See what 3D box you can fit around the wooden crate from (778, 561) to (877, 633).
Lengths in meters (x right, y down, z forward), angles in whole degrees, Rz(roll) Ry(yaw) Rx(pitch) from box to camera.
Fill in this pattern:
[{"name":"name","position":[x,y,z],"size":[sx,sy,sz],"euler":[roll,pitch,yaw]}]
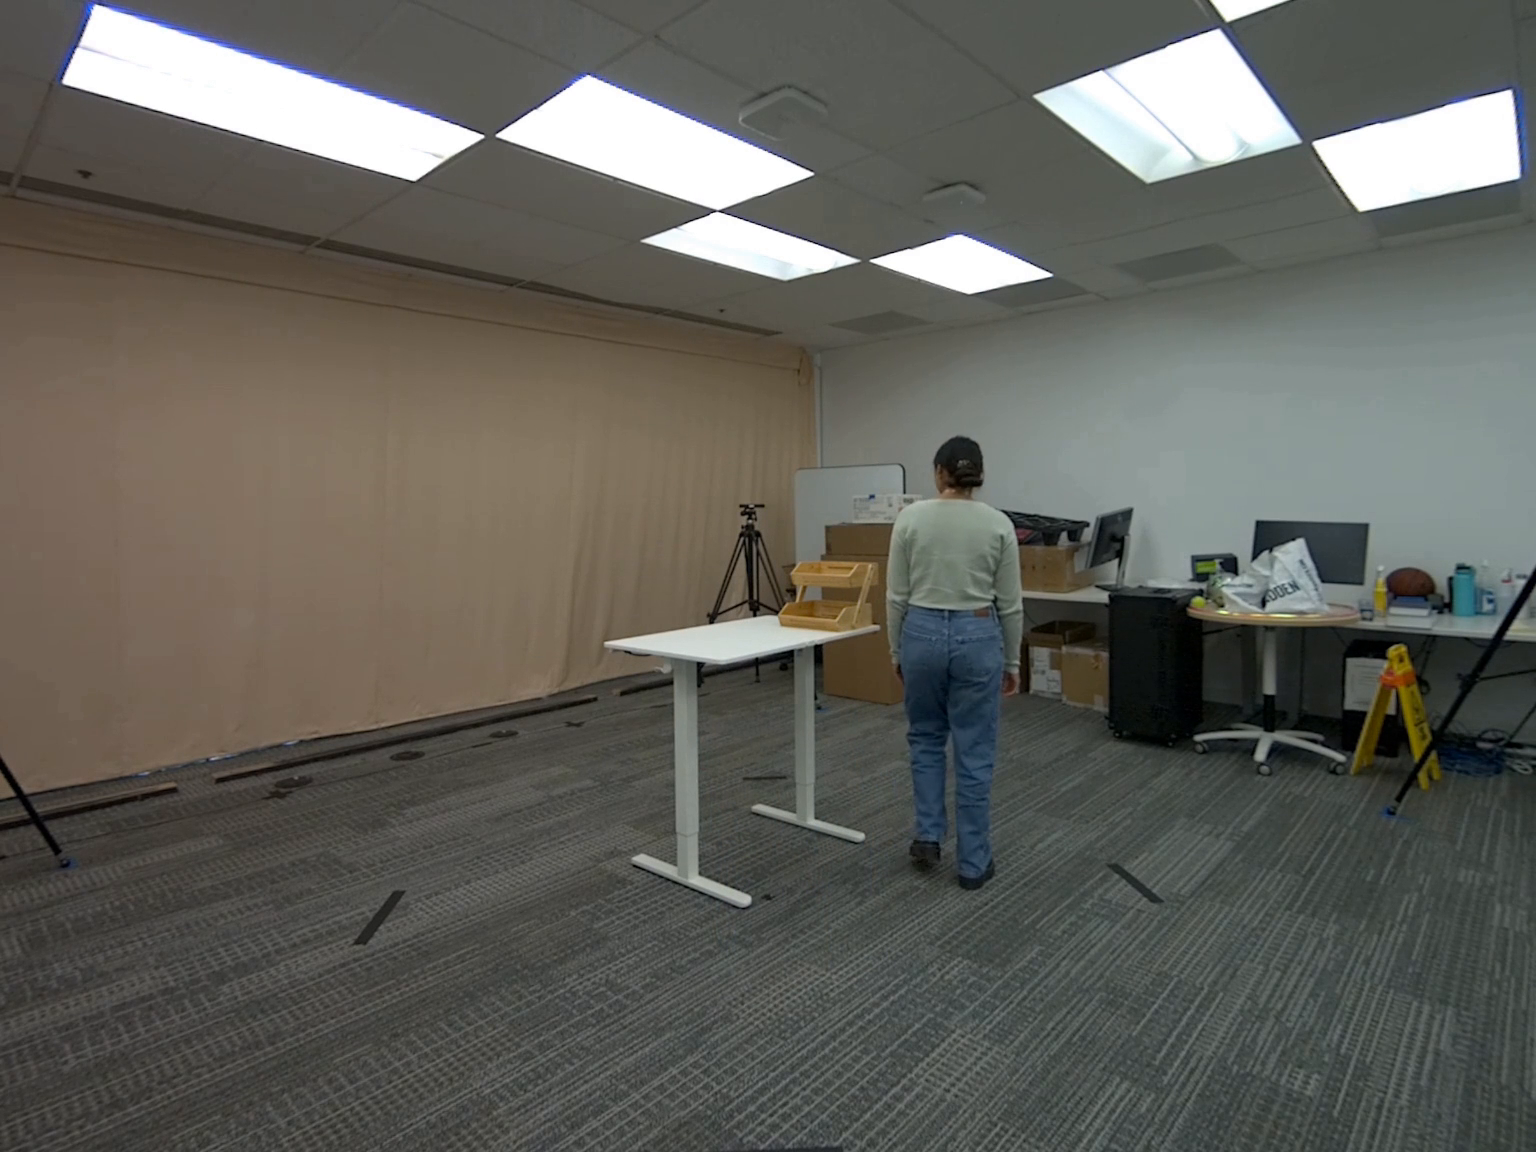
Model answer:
[{"name":"wooden crate","position":[0.253,0.075,3.528],"size":[0.335,0.273,0.293],"euler":[2,4,41]}]
